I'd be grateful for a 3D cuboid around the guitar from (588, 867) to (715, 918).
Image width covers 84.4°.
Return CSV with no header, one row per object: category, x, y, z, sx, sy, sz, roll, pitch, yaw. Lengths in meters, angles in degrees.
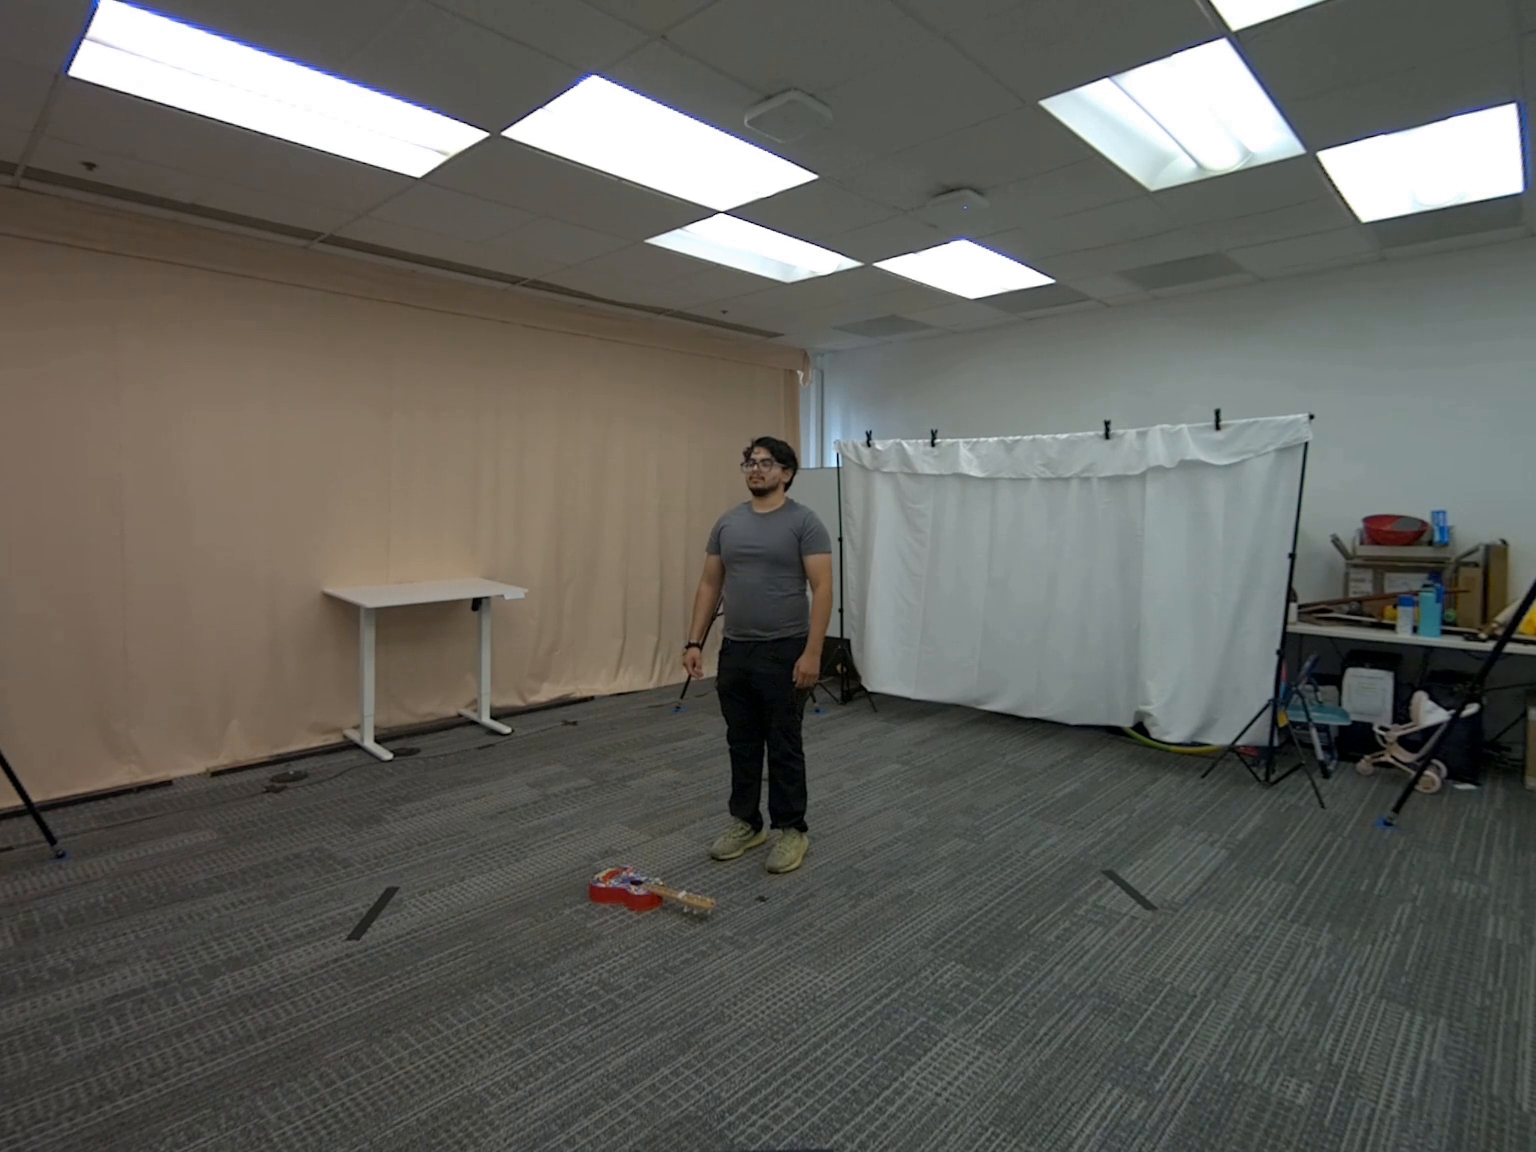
guitar,-0.415,1.119,2.923,0.514,0.070,0.187,2,5,40
